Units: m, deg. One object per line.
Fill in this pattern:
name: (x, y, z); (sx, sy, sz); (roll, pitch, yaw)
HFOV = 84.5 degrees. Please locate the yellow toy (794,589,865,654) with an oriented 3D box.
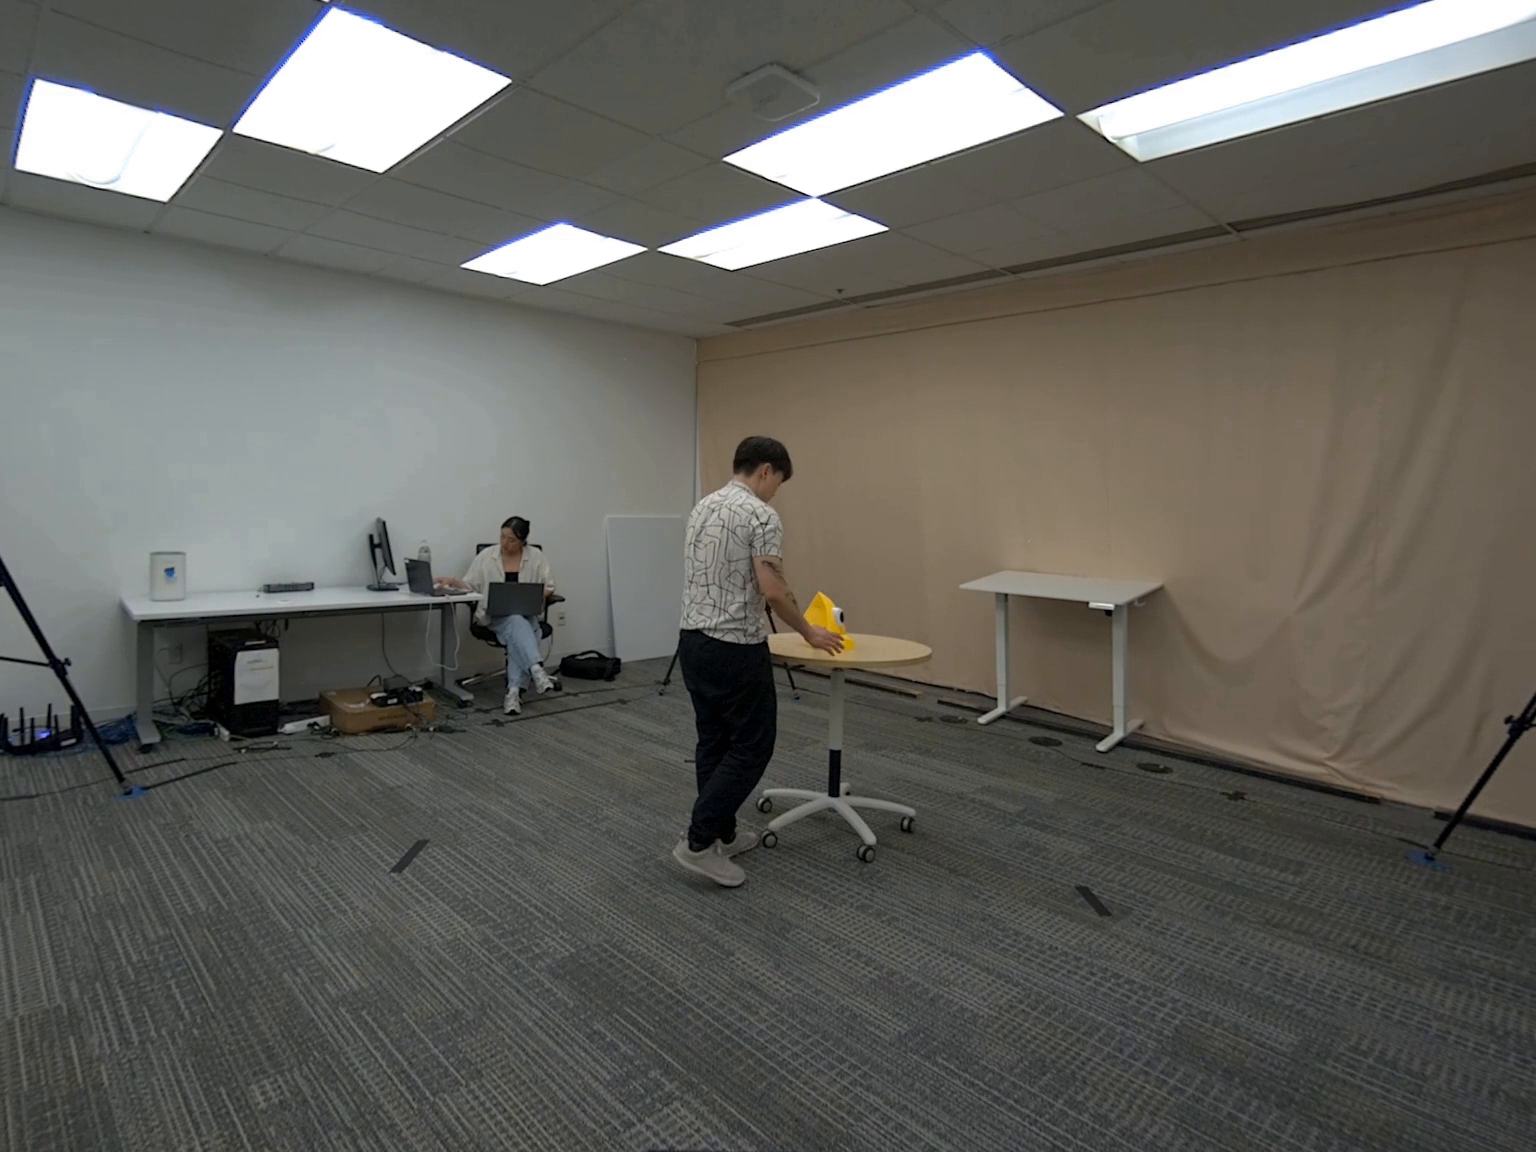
yellow toy: (0.252, 0.181, 3.510); (0.189, 0.230, 0.210); (0, 4, -36)
